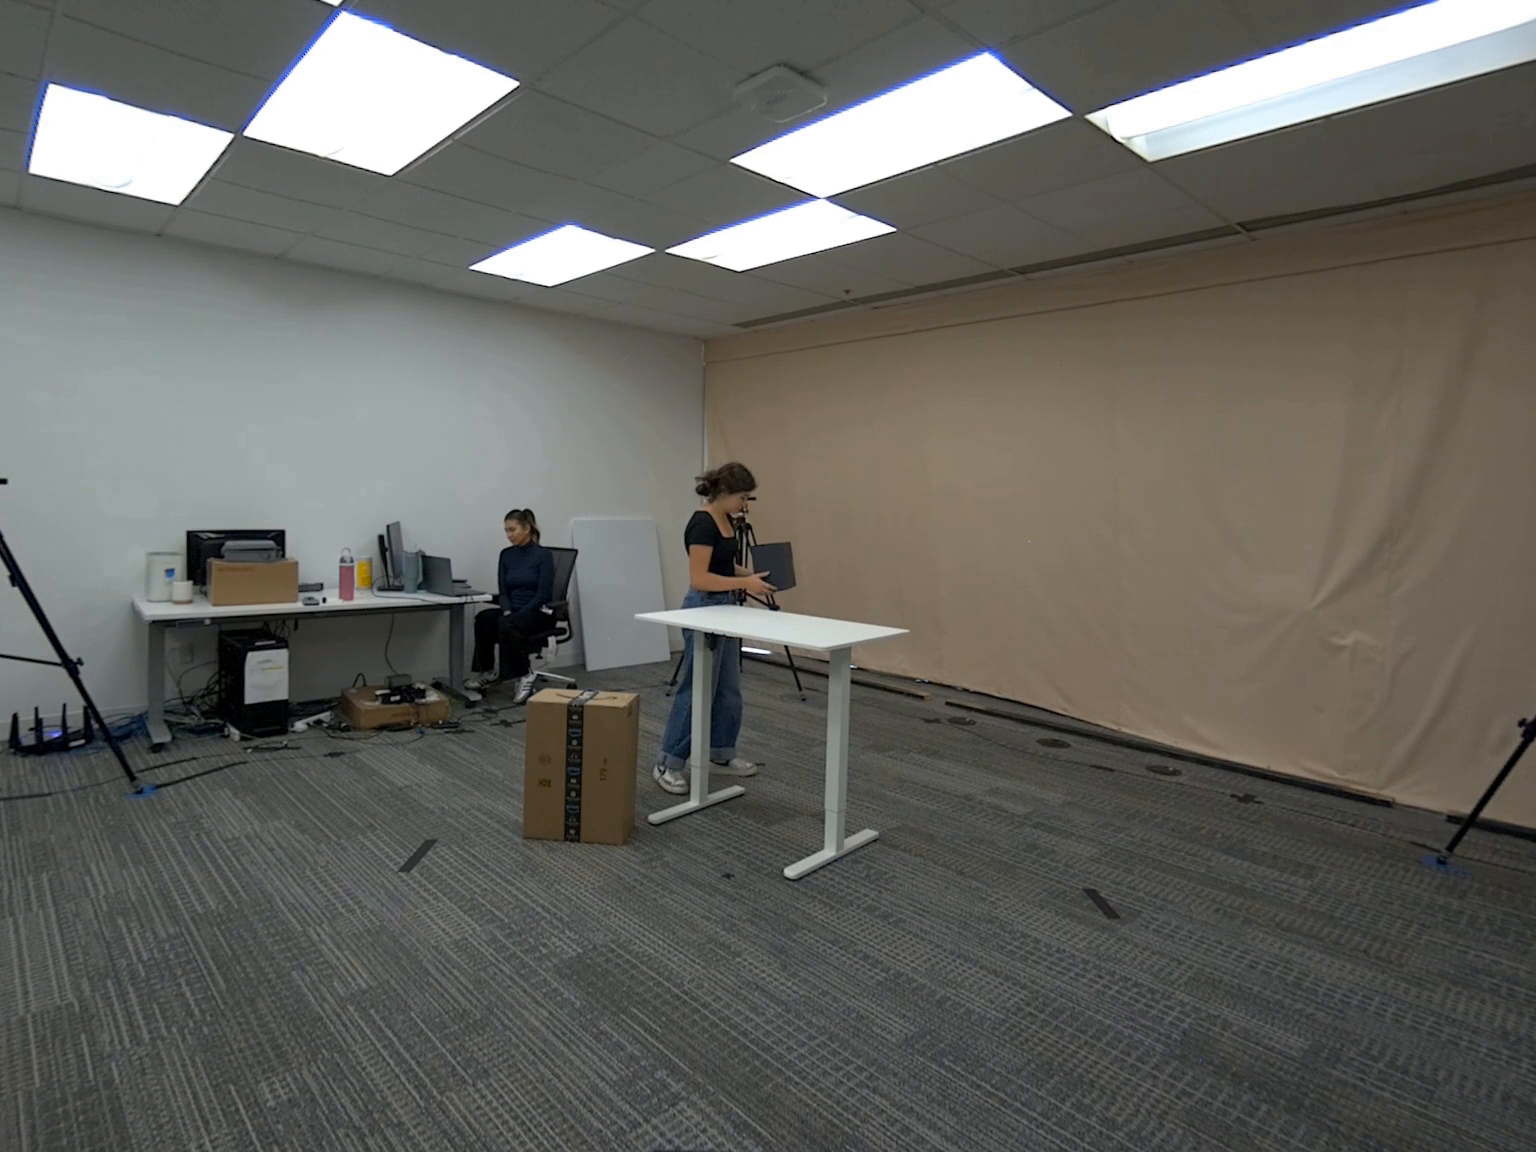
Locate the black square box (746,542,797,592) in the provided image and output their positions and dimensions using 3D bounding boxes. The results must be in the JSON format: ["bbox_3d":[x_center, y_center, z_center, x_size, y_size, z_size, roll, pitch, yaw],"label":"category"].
[{"bbox_3d":[0.008,-0.051,4.135,0.158,0.228,0.214,-5,1,18],"label":"black square box"}]
